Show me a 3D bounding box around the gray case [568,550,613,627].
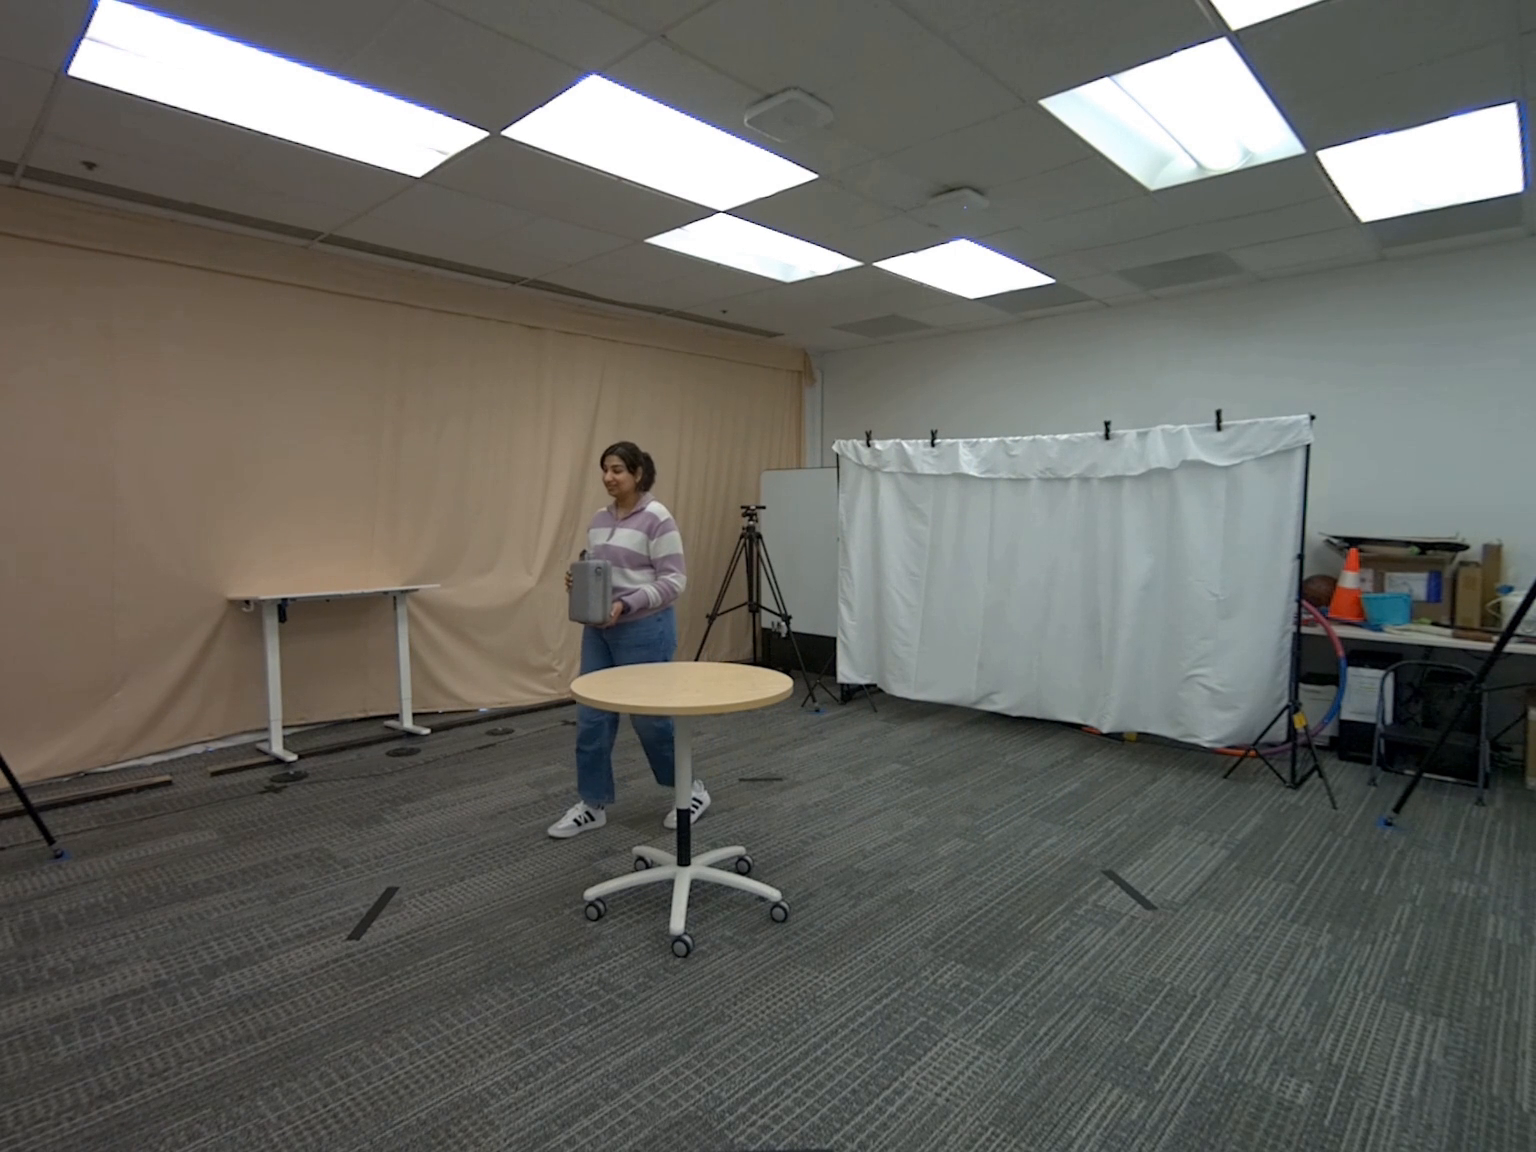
[{"bbox_3d":[-0.707,0.059,3.392,0.102,0.261,0.263,0,-3,-26],"label":"gray case"}]
